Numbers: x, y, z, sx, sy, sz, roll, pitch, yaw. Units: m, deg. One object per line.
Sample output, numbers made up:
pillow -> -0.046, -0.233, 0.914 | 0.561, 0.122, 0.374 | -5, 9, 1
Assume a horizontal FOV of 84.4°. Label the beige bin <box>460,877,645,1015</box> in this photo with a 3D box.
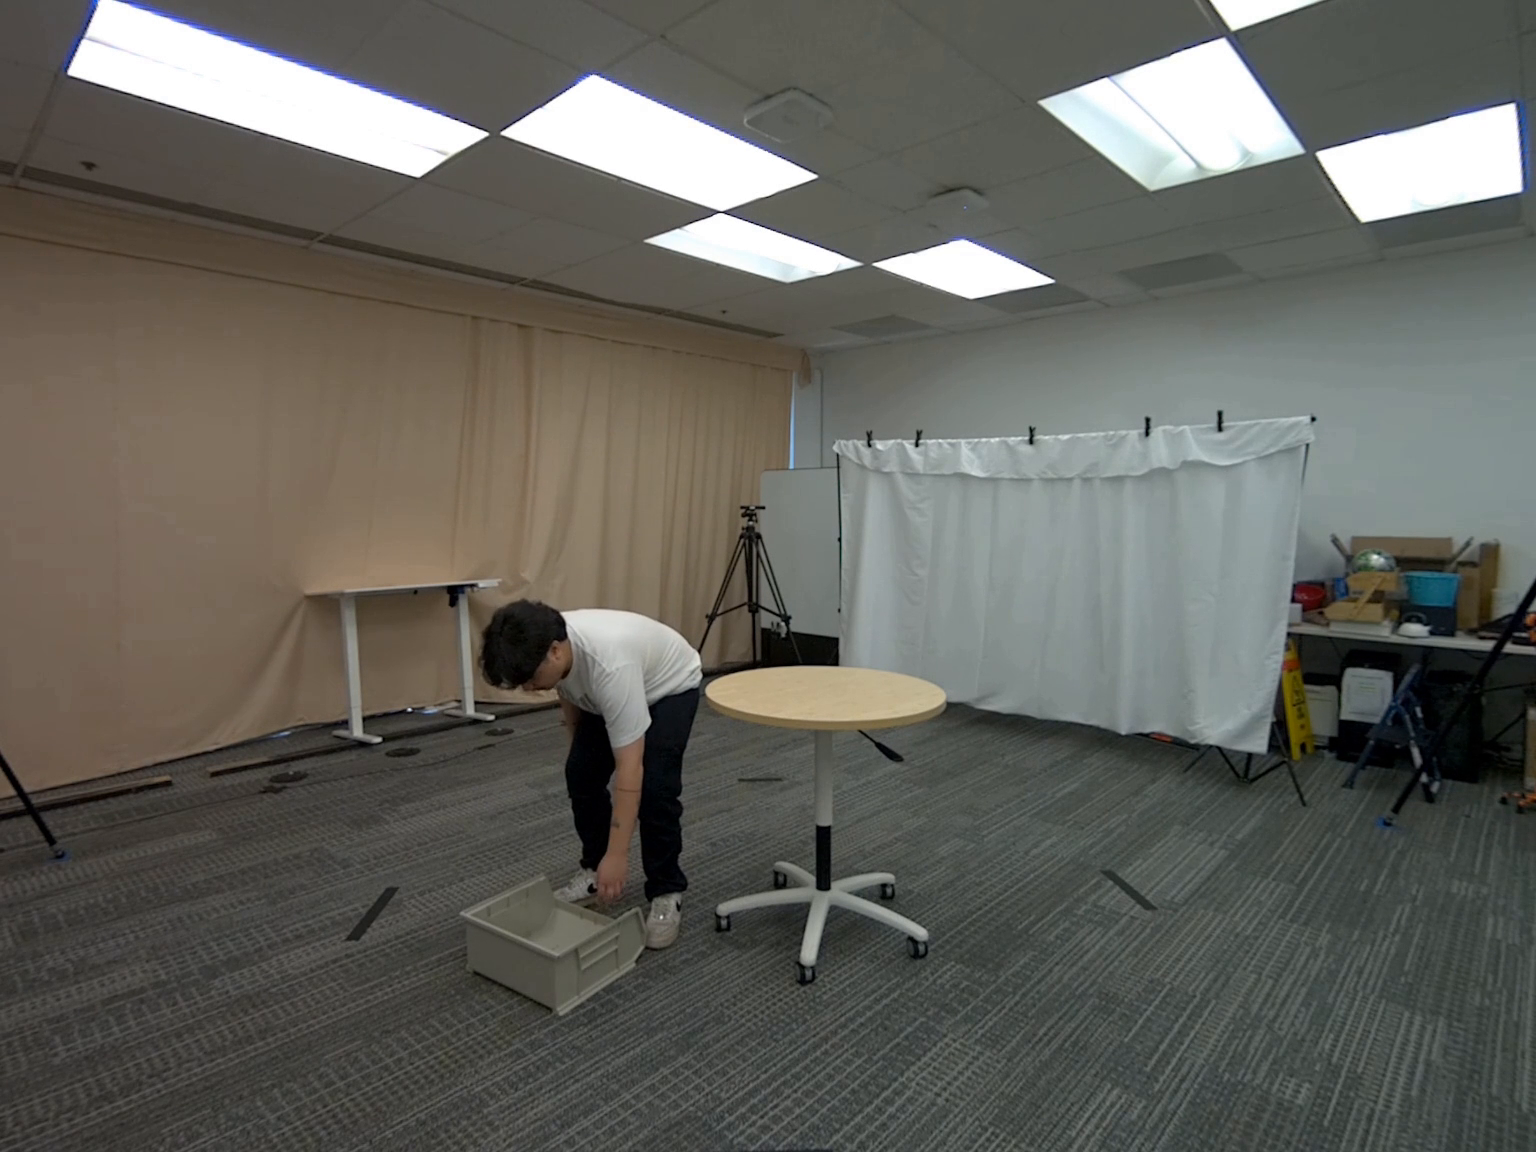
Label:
beige bin -> -0.646, 1.096, 2.554 | 0.435, 0.188, 0.367 | 4, 6, 34
